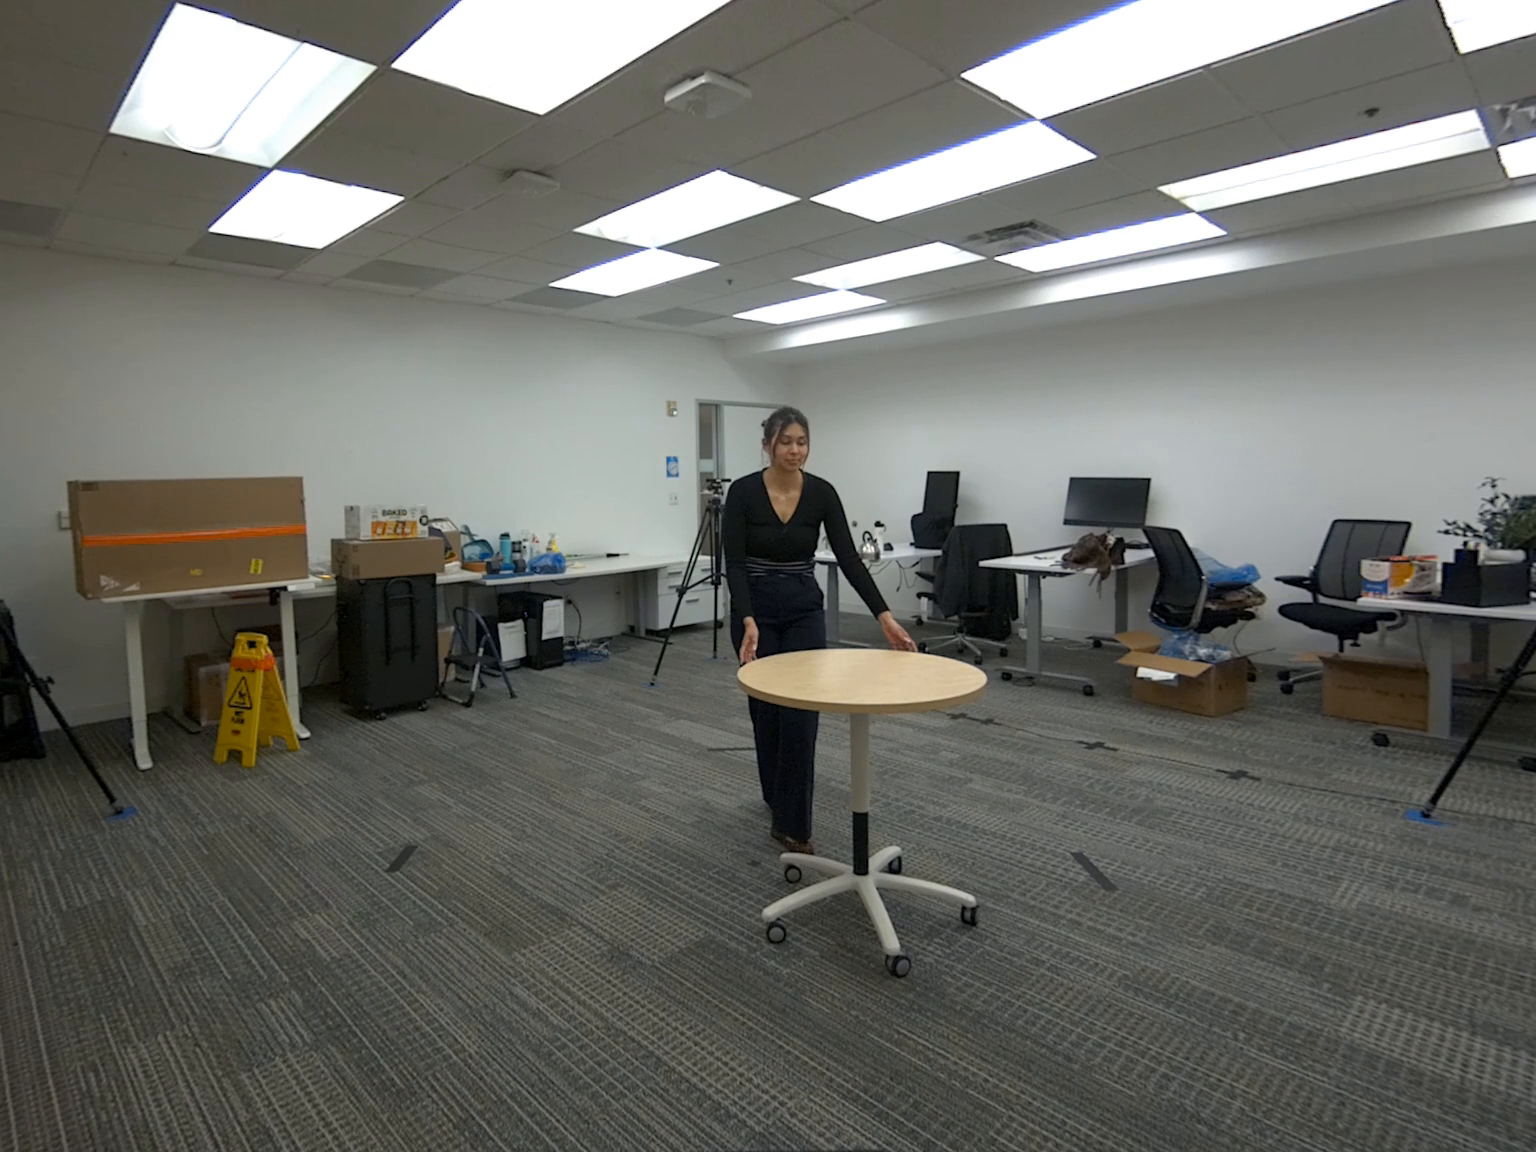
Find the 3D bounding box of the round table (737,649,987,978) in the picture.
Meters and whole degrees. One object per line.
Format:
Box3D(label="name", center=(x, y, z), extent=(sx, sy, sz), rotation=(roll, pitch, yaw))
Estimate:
Box3D(label="round table", center=(0.300, 0.698, 2.707), extent=(0.763, 0.791, 0.768), rotation=(-1, 5, -2))
